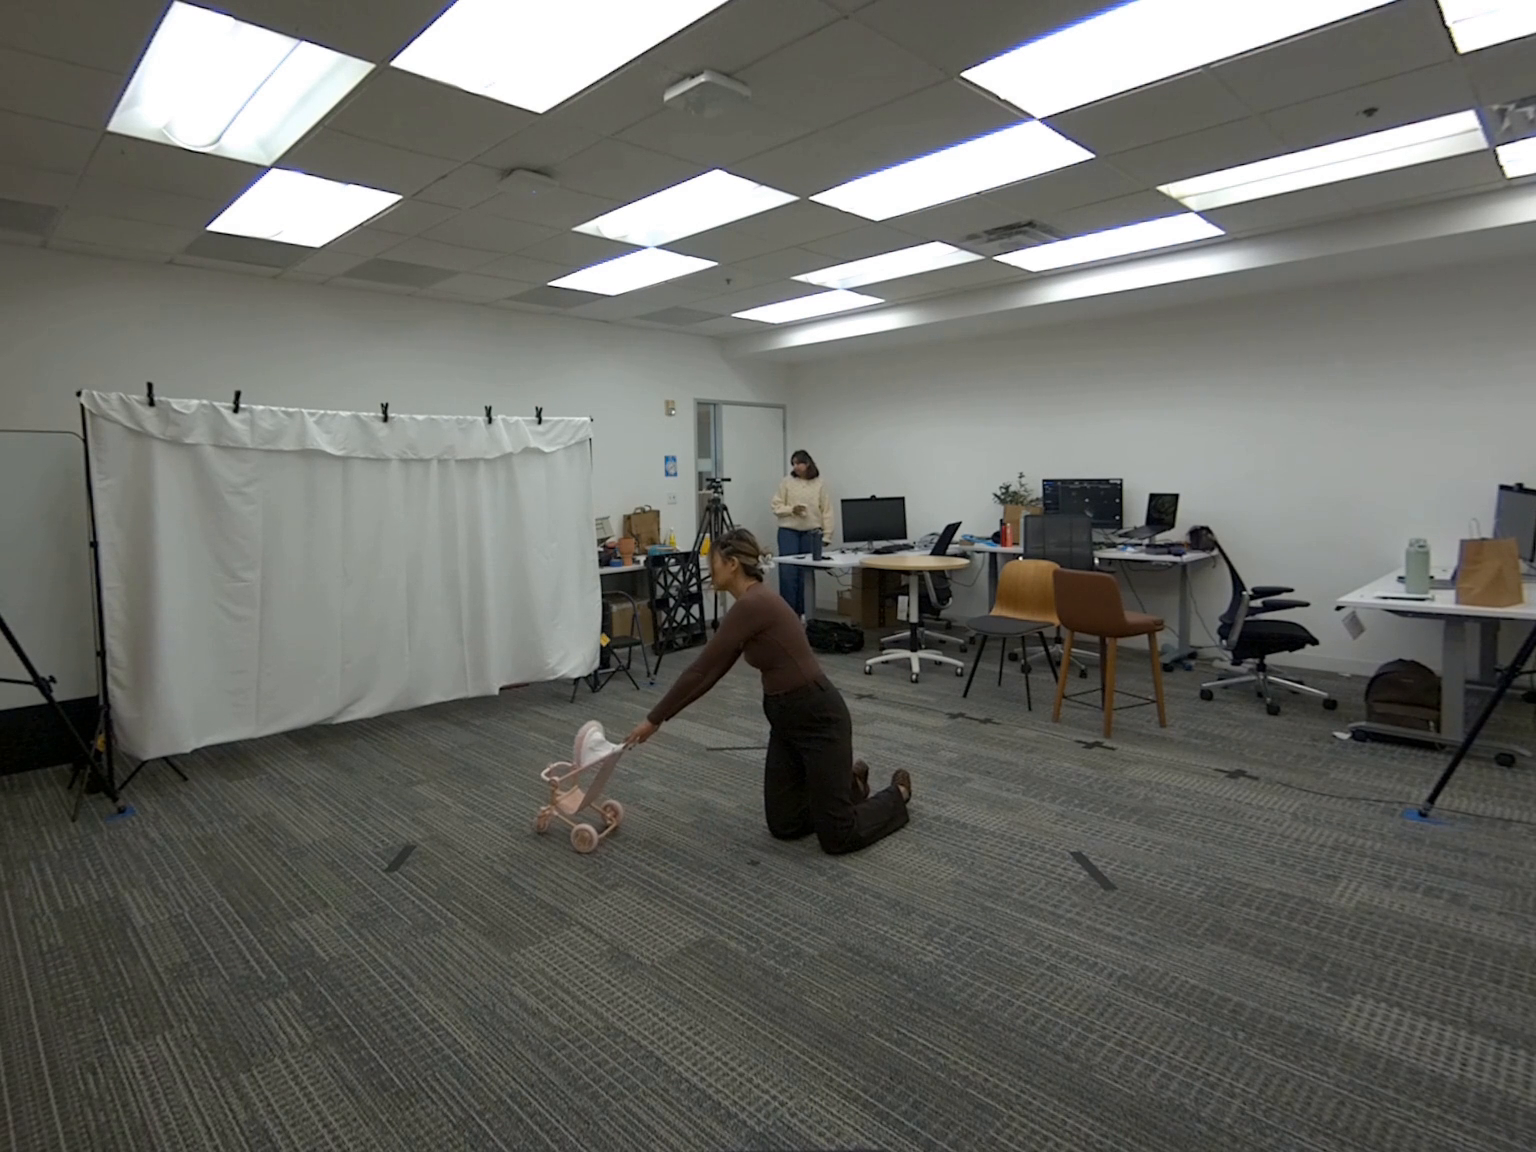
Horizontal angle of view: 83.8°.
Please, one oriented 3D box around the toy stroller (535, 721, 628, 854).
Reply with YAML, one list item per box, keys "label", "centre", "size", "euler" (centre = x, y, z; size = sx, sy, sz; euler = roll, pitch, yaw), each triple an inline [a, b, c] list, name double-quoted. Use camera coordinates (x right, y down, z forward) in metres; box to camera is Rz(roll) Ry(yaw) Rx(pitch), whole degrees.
- label: "toy stroller"
  centre: [-0.706, 0.804, 3.341]
  size: [0.349, 0.532, 0.276]
  euler: [19, 10, 19]
